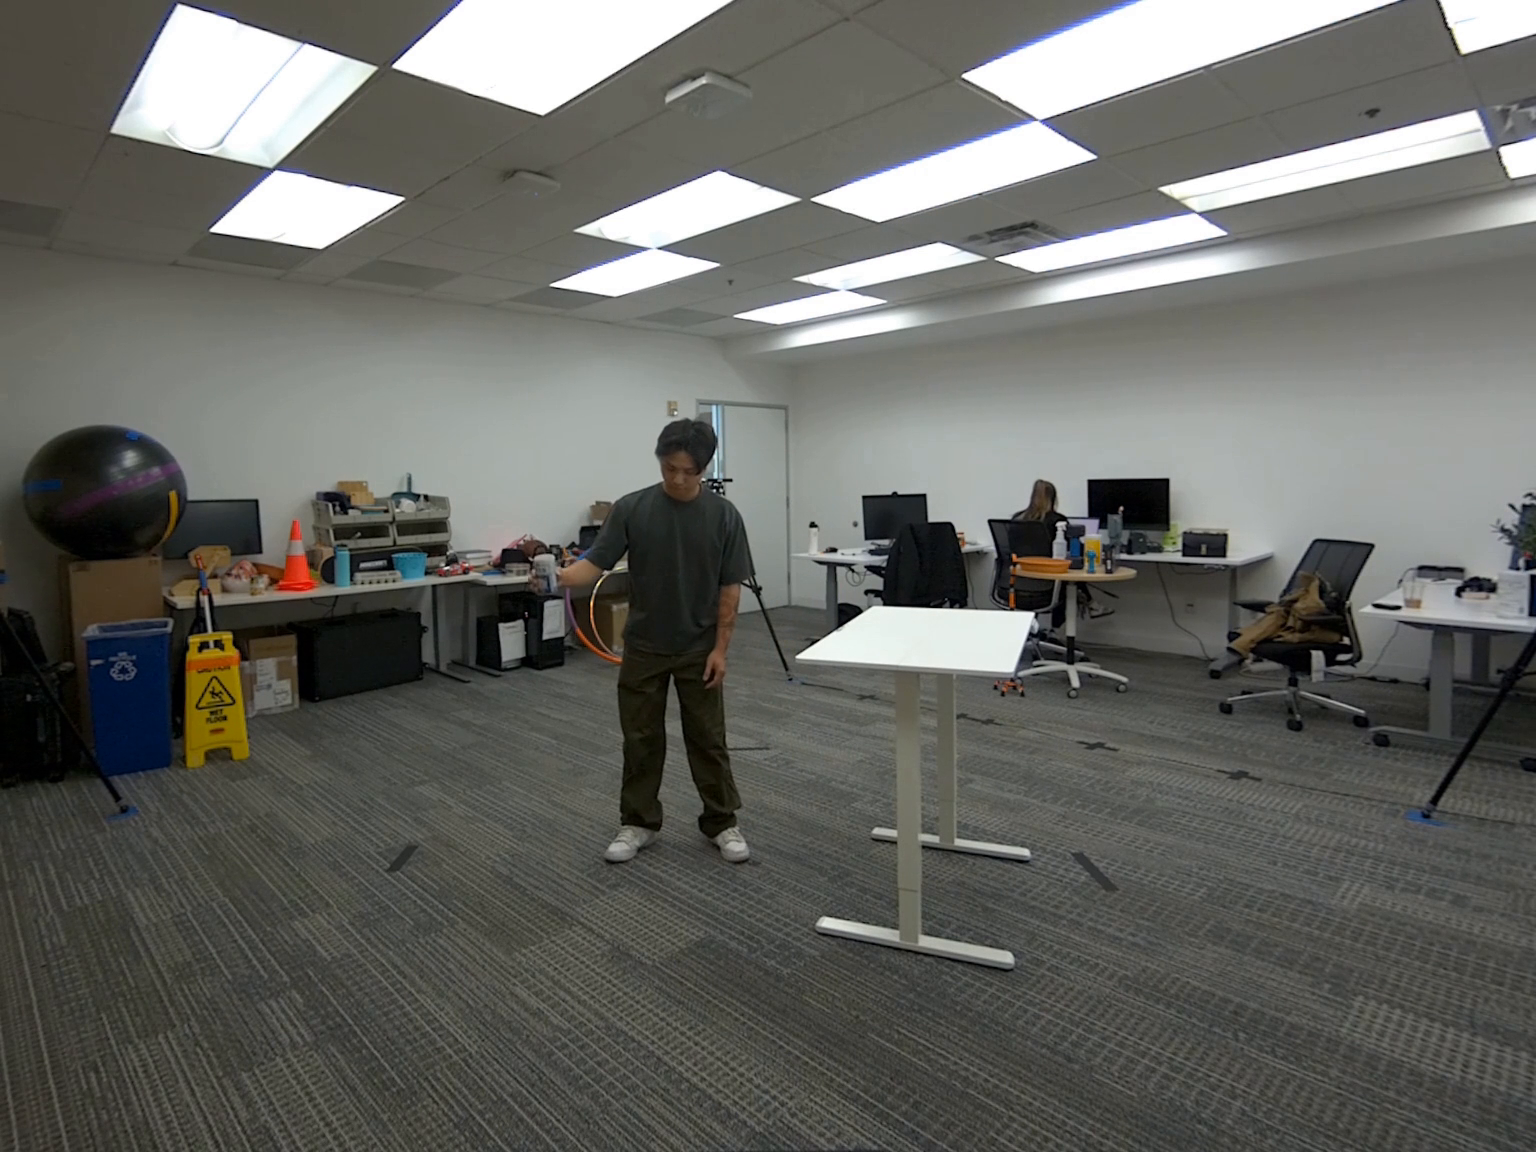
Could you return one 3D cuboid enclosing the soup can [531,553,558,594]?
[{"bbox_3d":[-0.715,-0.005,2.751,0.067,0.120,0.068,-2,16,-1],"label":"soup can"}]
